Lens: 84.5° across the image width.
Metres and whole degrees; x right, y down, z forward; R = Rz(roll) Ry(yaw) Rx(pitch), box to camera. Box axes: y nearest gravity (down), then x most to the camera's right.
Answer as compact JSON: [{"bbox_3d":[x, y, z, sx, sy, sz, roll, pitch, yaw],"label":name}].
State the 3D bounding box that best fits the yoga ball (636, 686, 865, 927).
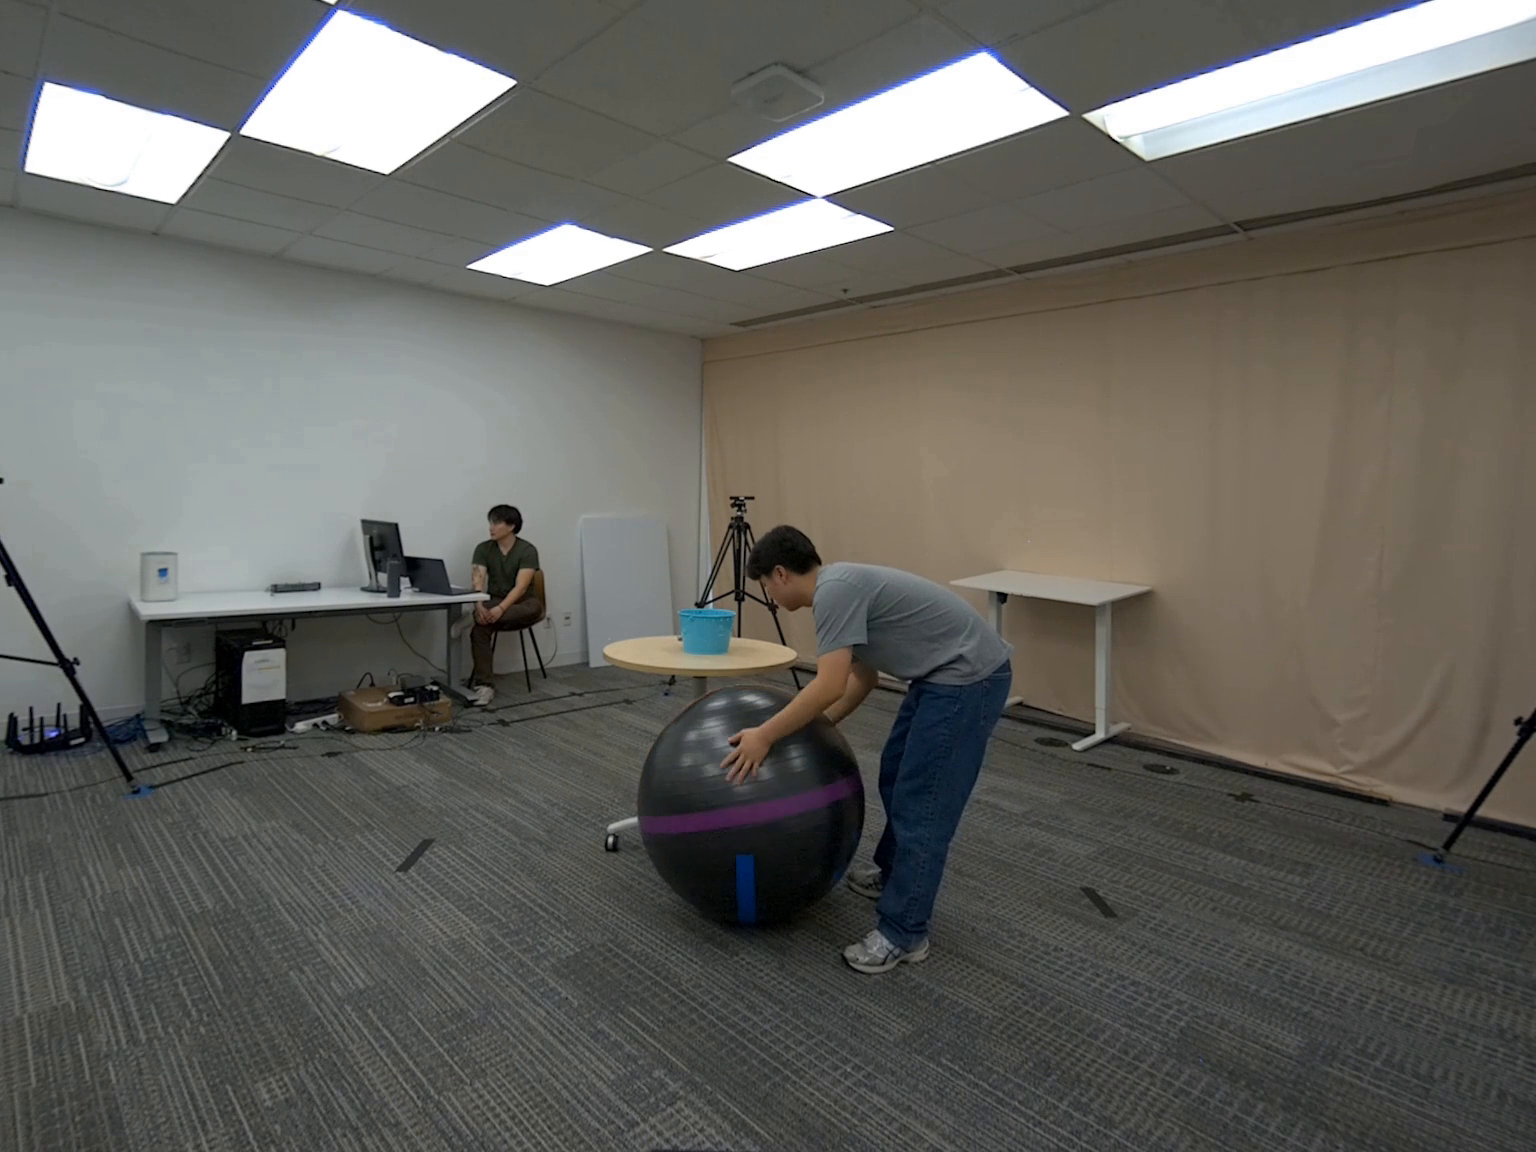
[{"bbox_3d":[-0.059,0.760,2.825,0.757,0.756,0.761,1,4,-1],"label":"yoga ball"}]
